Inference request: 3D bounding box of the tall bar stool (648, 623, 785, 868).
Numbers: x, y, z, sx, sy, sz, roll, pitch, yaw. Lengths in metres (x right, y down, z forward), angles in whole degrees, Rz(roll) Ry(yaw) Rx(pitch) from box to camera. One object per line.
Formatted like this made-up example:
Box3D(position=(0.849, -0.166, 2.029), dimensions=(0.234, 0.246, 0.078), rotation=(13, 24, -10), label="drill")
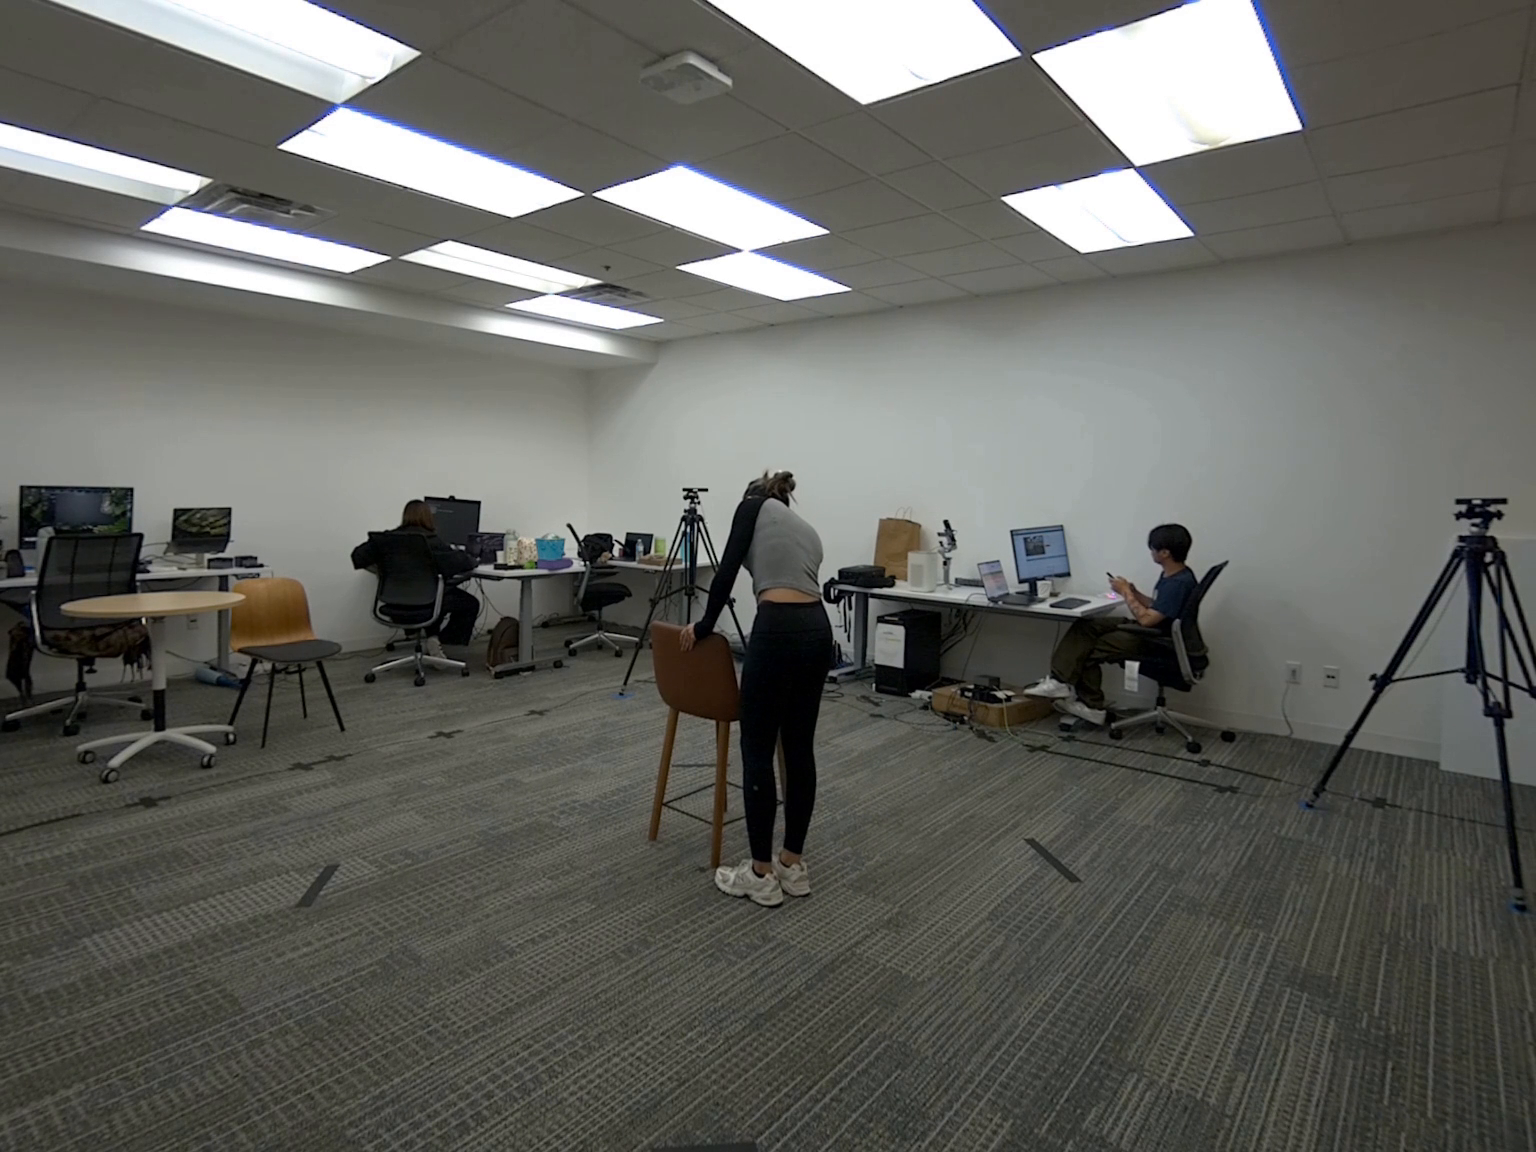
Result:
Box3D(position=(-0.199, 0.605, 3.378), dimensions=(0.472, 0.886, 0.454), rotation=(4, 6, 42), label="tall bar stool")
